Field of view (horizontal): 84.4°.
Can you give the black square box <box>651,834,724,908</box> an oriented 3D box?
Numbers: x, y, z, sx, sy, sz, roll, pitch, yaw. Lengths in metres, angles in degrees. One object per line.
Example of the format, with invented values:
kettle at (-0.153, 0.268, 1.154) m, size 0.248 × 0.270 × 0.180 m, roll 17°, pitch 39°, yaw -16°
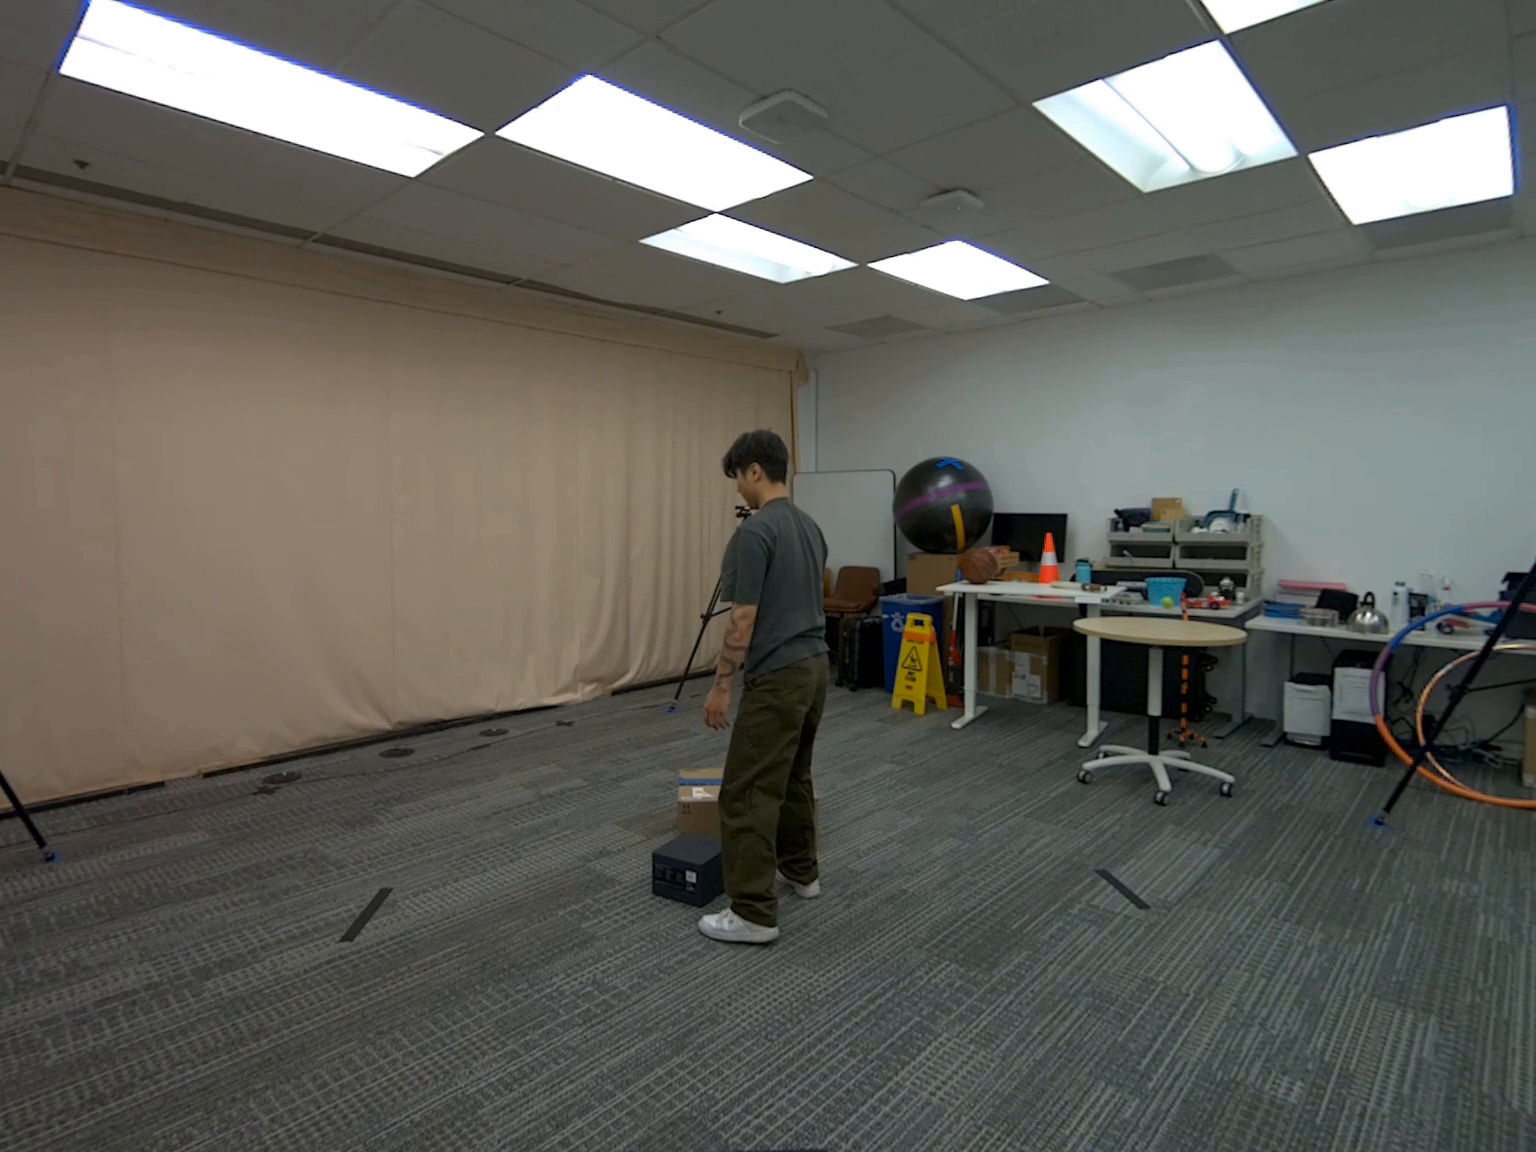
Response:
black square box at (-0.268, 1.059, 3.058) m, size 0.223 × 0.155 × 0.222 m, roll 1°, pitch 4°, yaw 30°
